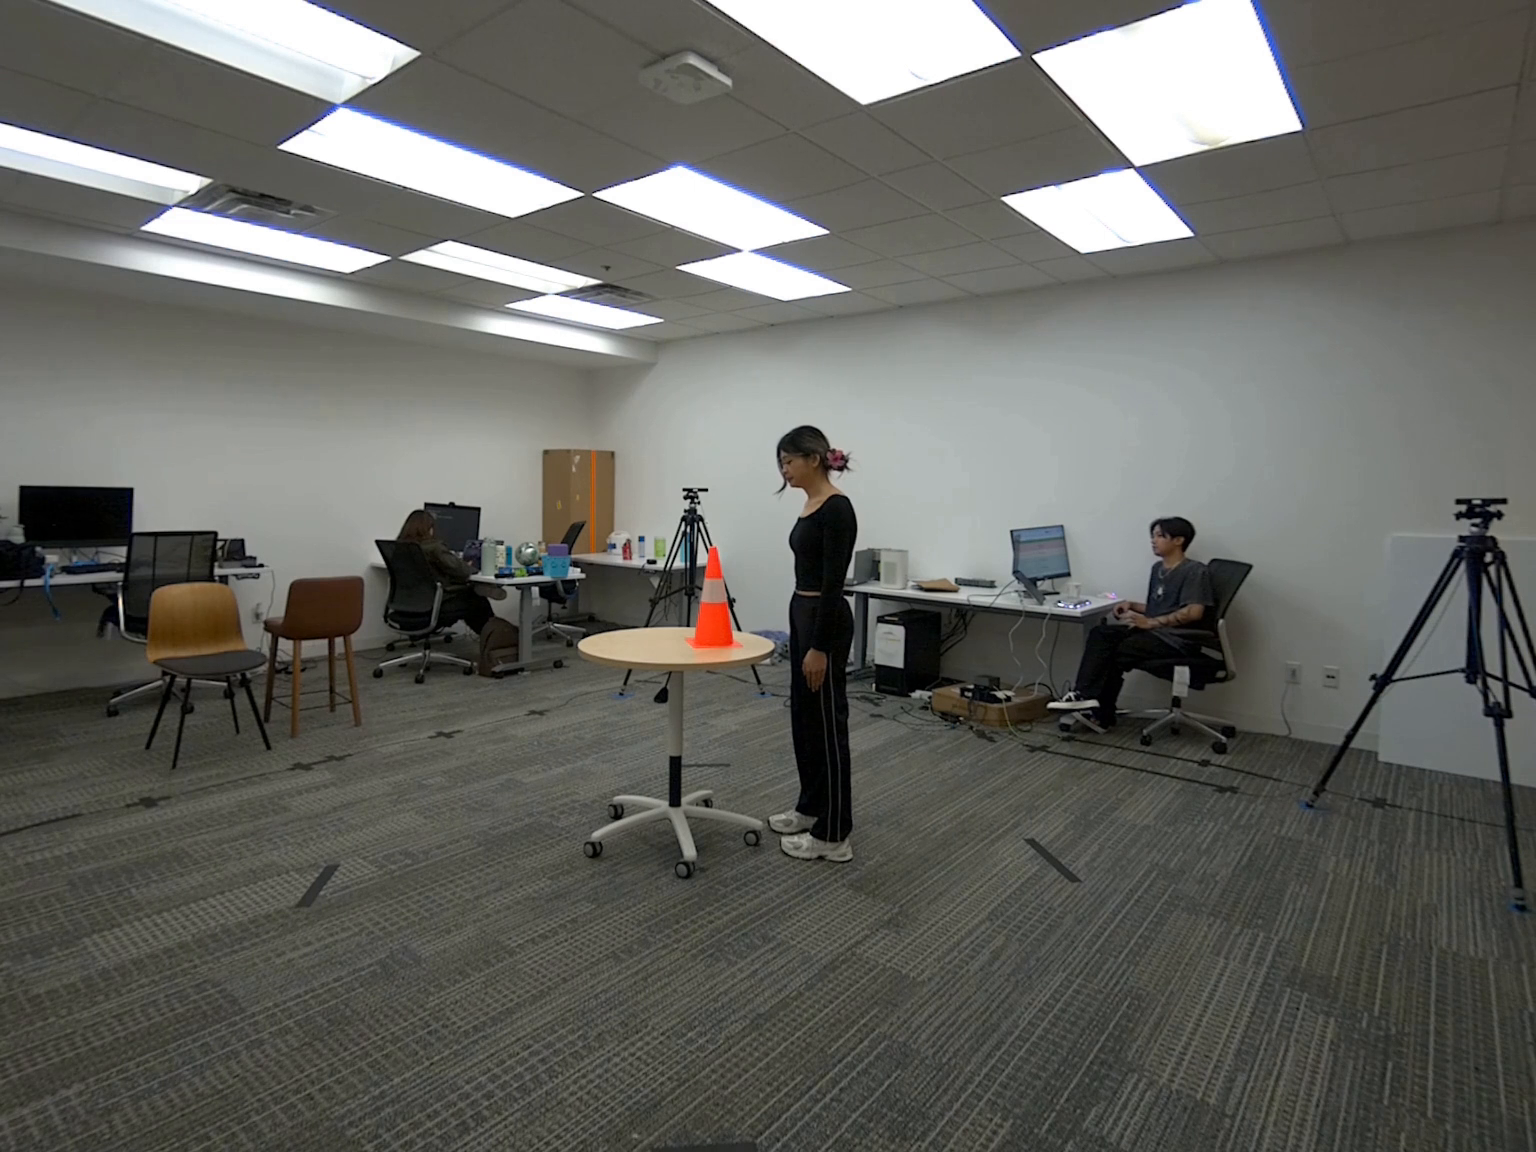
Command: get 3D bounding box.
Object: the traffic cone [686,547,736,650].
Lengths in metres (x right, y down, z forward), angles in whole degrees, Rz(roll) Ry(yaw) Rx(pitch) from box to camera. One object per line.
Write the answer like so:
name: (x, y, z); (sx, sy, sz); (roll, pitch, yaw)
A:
traffic cone: (-0.222, 0.074, 3.346); (0.200, 0.383, 0.208); (0, 3, -14)
